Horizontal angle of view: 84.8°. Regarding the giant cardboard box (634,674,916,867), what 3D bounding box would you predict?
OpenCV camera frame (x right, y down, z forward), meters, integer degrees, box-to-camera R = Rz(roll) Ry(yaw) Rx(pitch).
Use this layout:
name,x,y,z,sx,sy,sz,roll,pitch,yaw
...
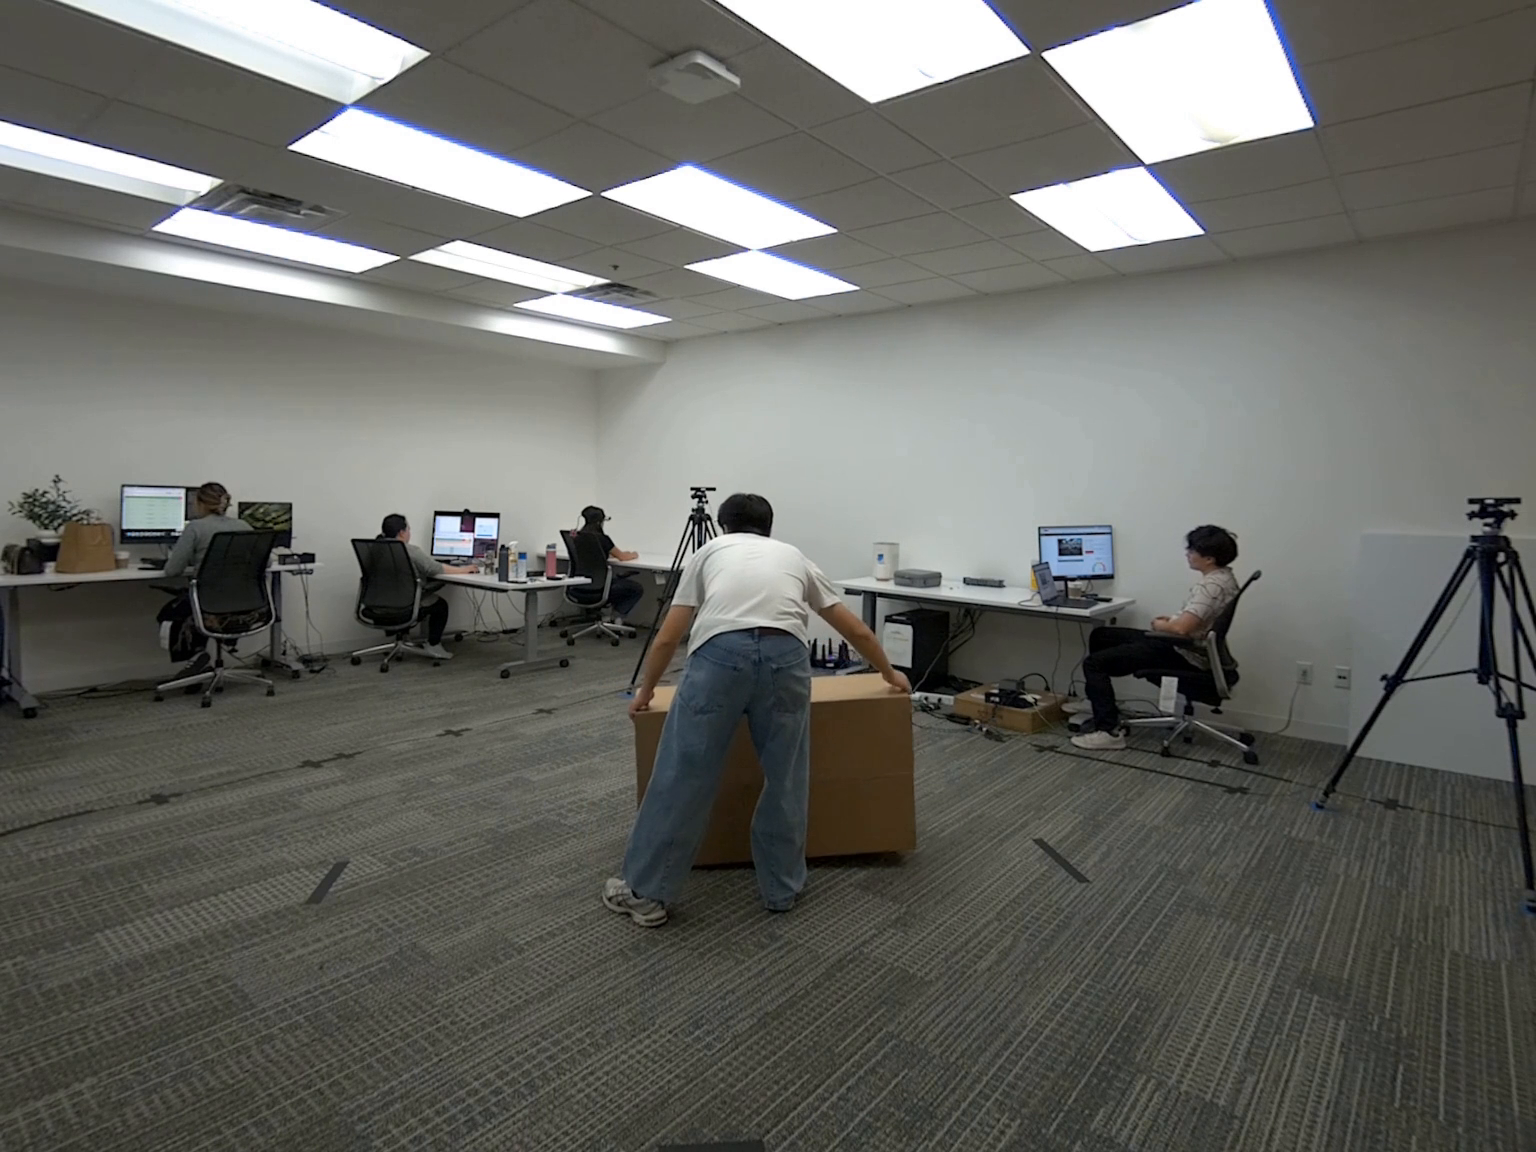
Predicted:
name,x,y,z,sx,sy,sz,roll,pitch,yaw
giant cardboard box,-0.002,0.718,3.315,1.021,0.576,0.429,-3,3,-5
